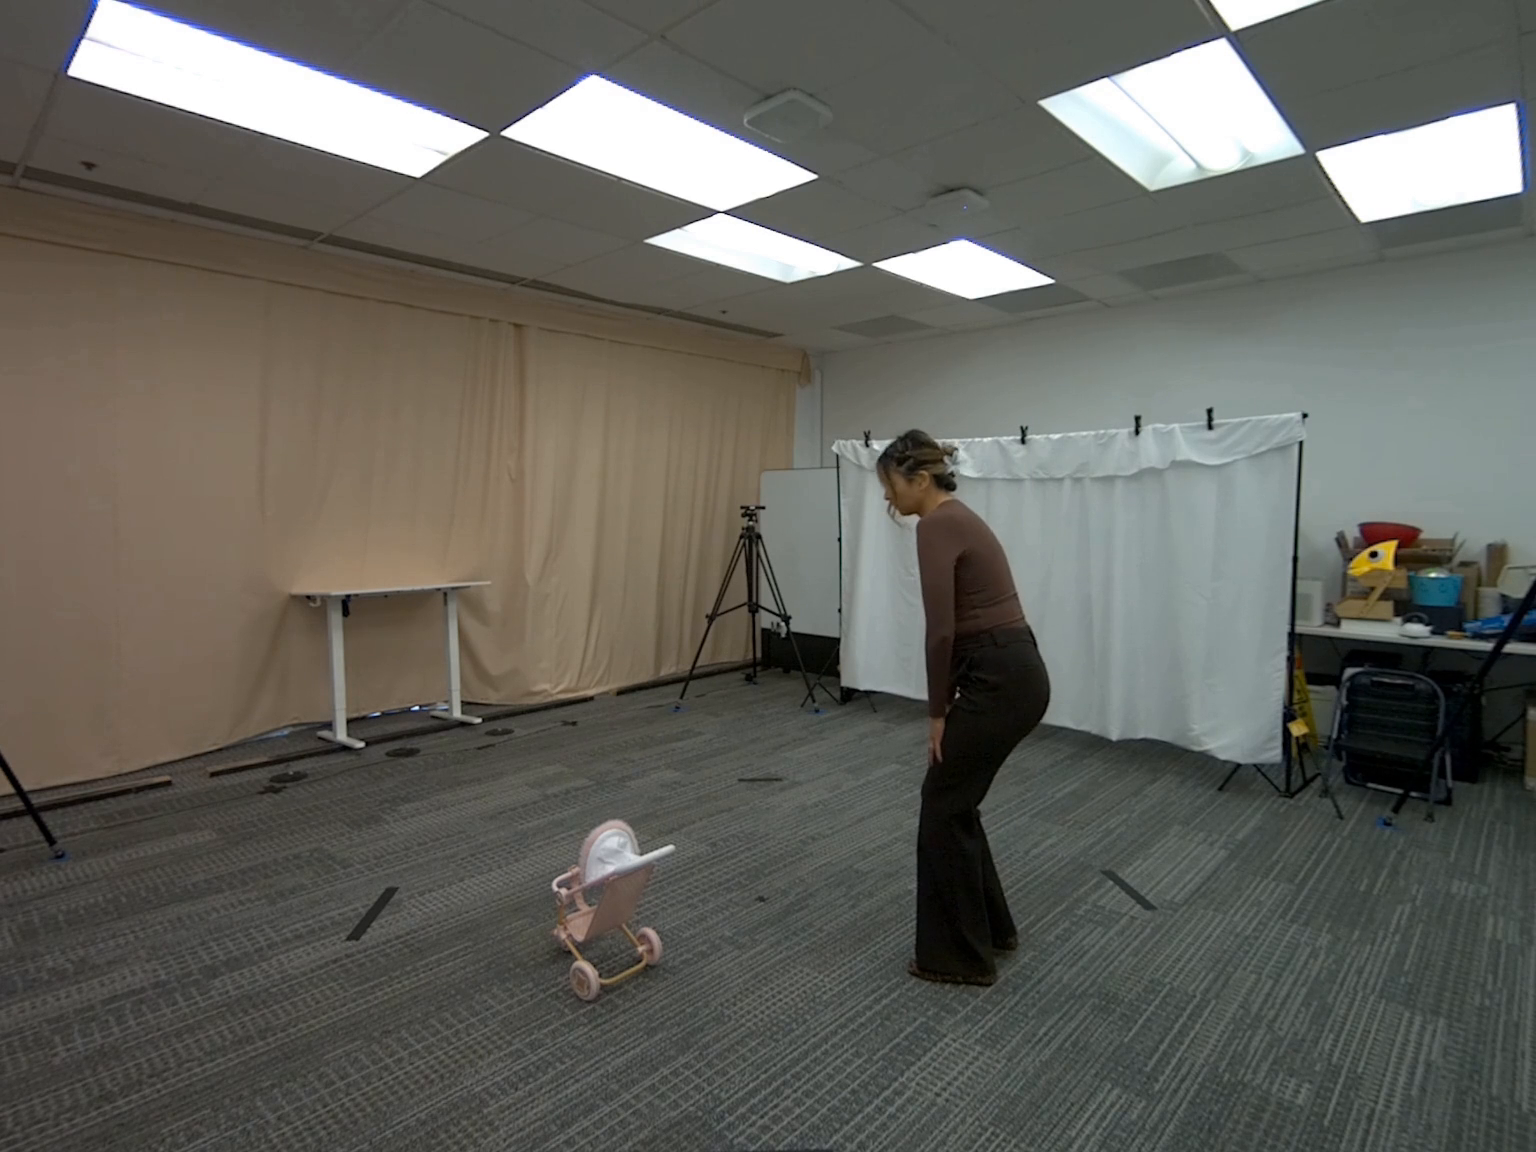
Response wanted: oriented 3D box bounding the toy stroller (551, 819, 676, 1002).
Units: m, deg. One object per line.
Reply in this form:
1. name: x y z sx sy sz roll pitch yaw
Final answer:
1. toy stroller: -0.485 0.966 2.507 0.272 0.532 0.354 -2 20 -45
